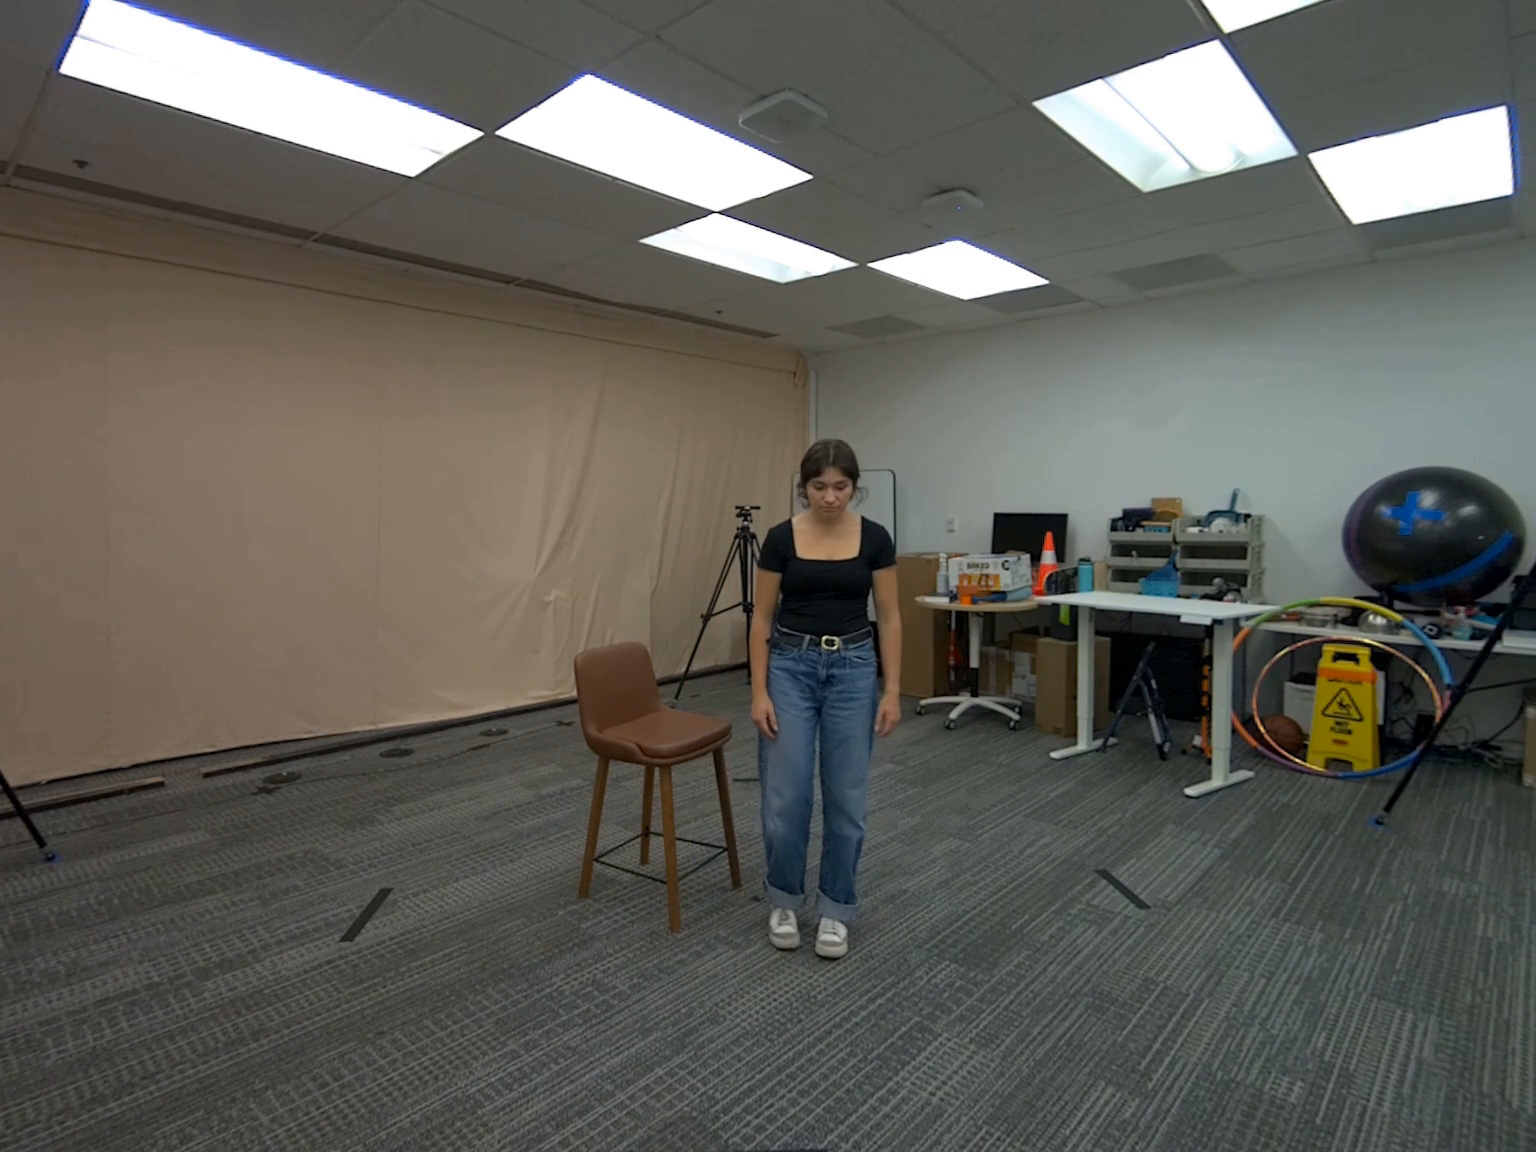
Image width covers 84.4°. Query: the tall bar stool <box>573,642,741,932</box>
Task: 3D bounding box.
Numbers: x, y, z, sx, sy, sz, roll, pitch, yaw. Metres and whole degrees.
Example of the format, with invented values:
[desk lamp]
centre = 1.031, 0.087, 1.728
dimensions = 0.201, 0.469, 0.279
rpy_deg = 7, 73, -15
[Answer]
[tall bar stool]
centre = -0.397, 0.709, 3.019
dimensions = 0.481, 0.888, 0.444
rpy_deg = 0, 3, 33
